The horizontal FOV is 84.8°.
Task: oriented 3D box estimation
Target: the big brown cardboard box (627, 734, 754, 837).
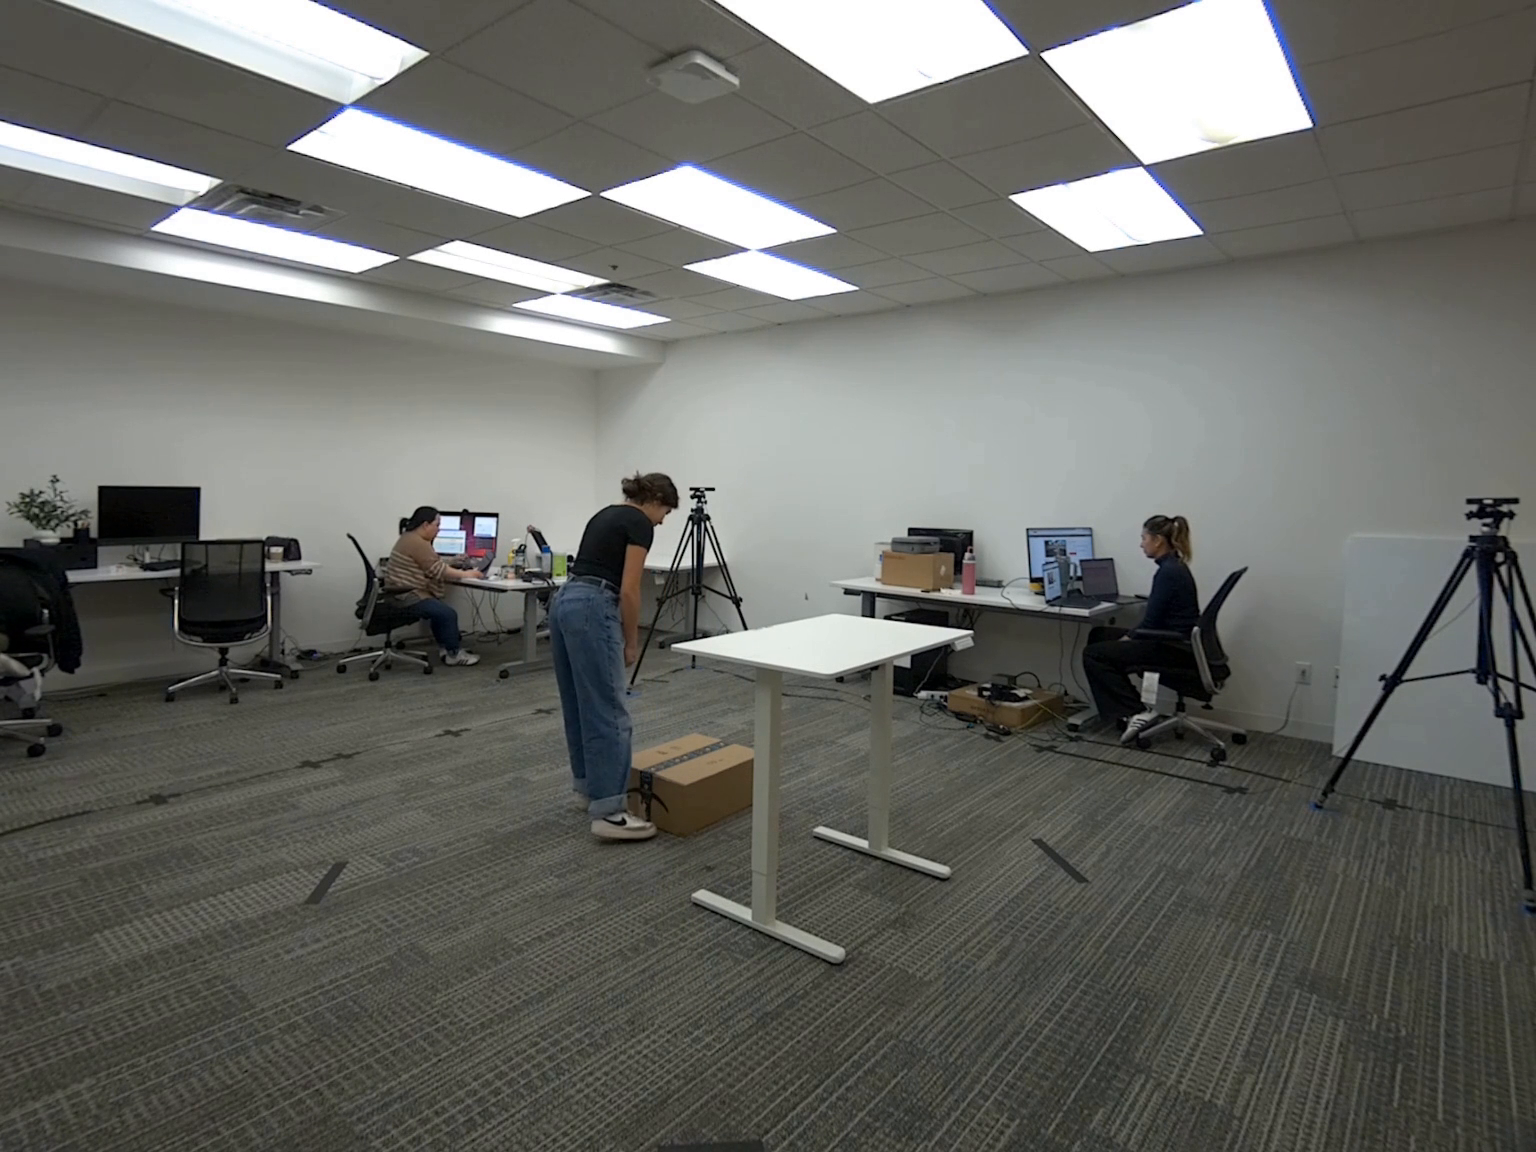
[{"bbox_3d":[-0.352,0.891,3.721,0.431,0.232,0.572,6,7,36],"label":"big brown cardboard box"}]
